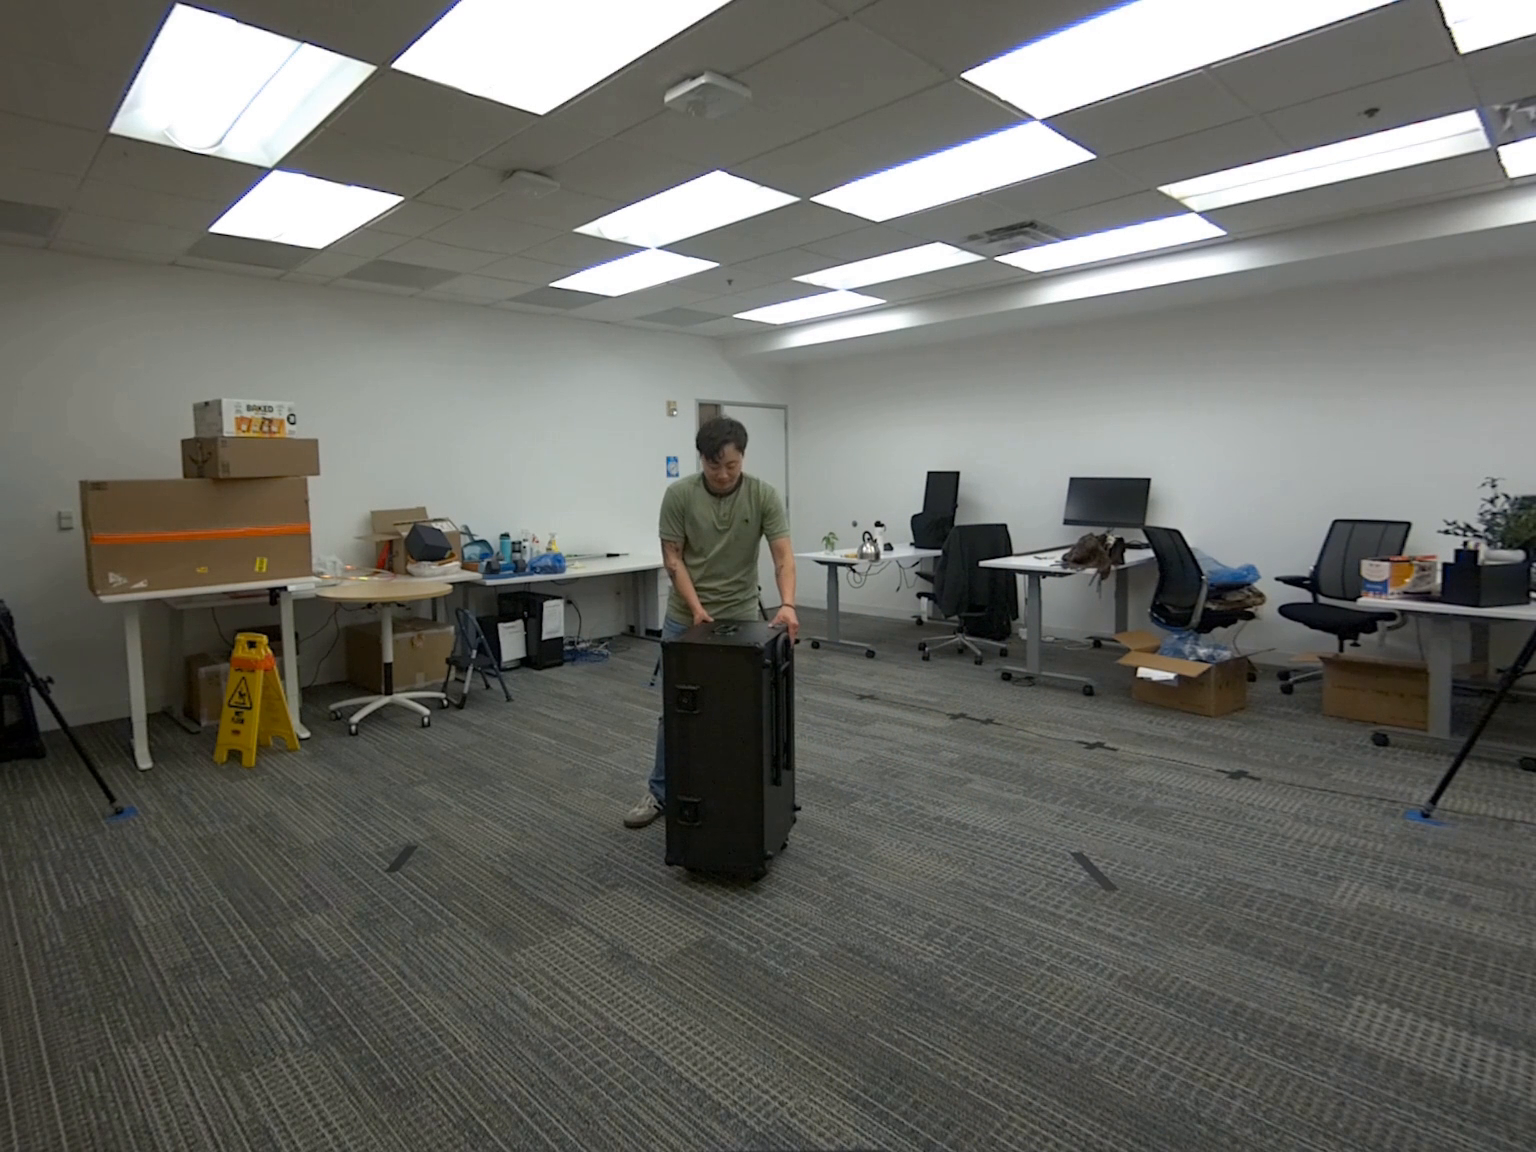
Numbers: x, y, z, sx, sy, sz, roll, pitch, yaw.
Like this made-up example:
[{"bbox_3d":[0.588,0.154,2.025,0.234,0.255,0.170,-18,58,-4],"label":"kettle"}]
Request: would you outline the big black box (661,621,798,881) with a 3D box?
[{"bbox_3d":[-0.102,0.627,3.093,0.402,0.858,0.516,0,4,14],"label":"big black box"}]
